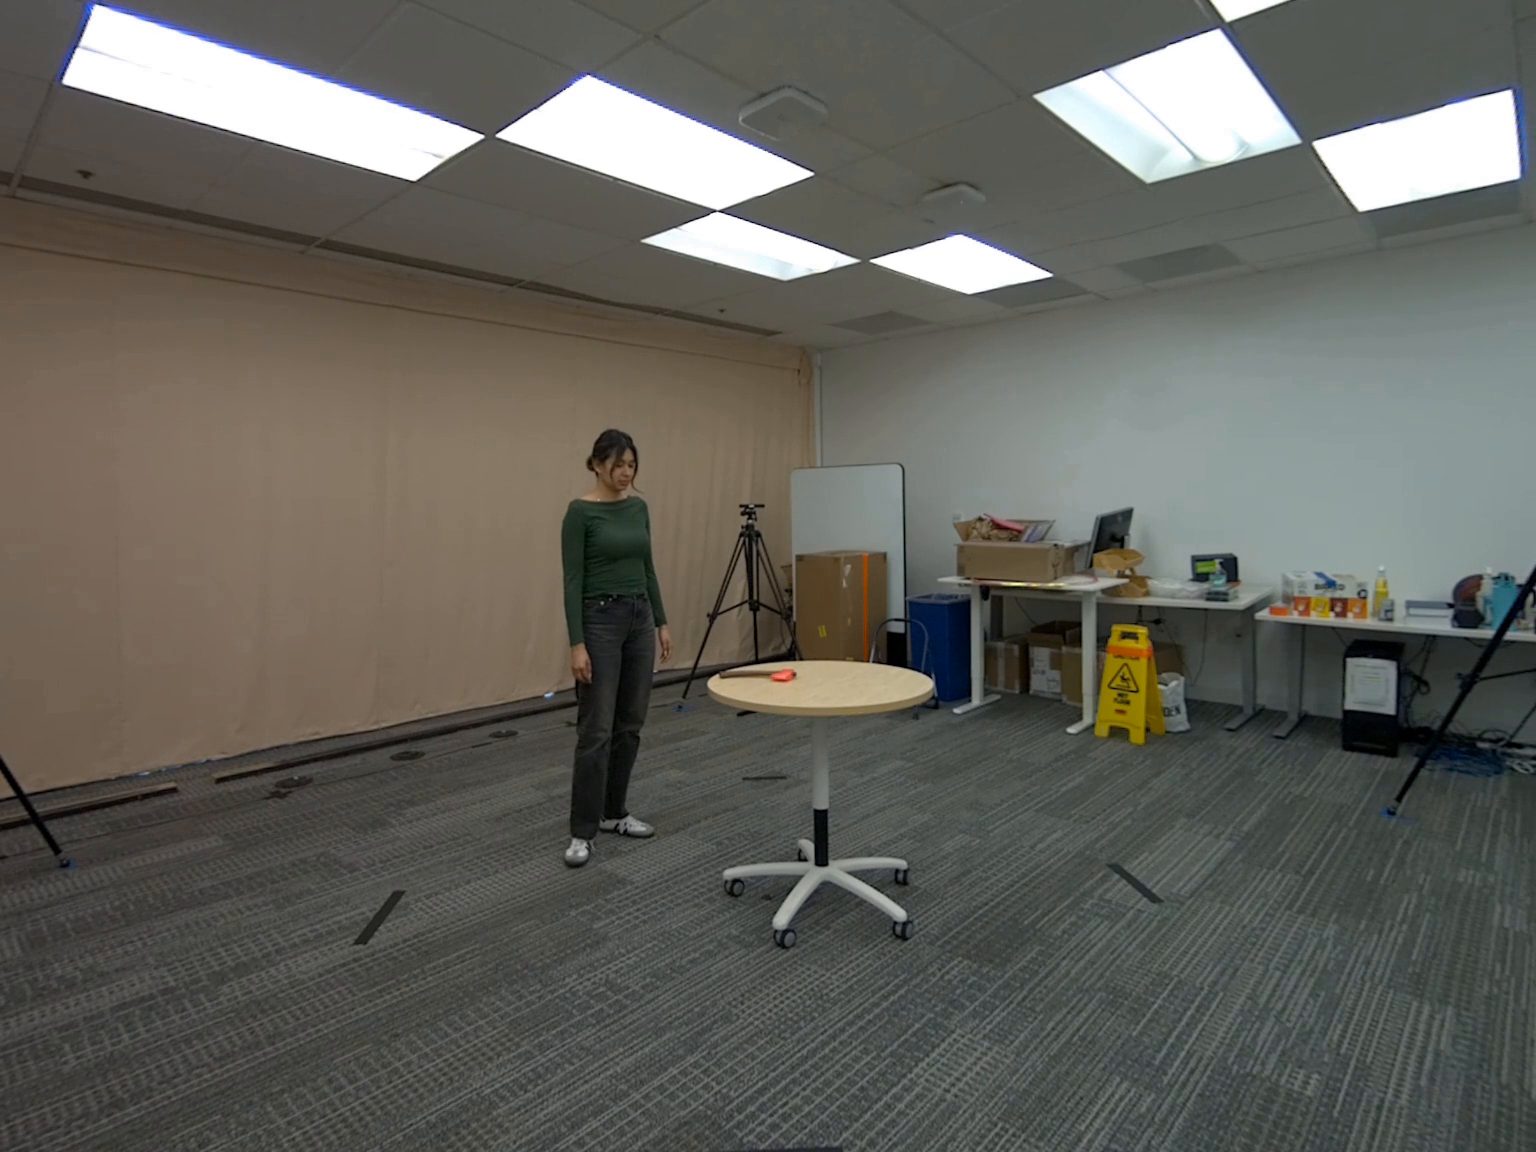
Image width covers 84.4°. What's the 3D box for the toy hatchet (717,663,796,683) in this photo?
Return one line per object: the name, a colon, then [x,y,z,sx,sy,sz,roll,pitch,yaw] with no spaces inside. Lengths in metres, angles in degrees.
toy hatchet: [-0.034,0.351,2.942,0.269,0.029,0.132,-3,8,-3]
